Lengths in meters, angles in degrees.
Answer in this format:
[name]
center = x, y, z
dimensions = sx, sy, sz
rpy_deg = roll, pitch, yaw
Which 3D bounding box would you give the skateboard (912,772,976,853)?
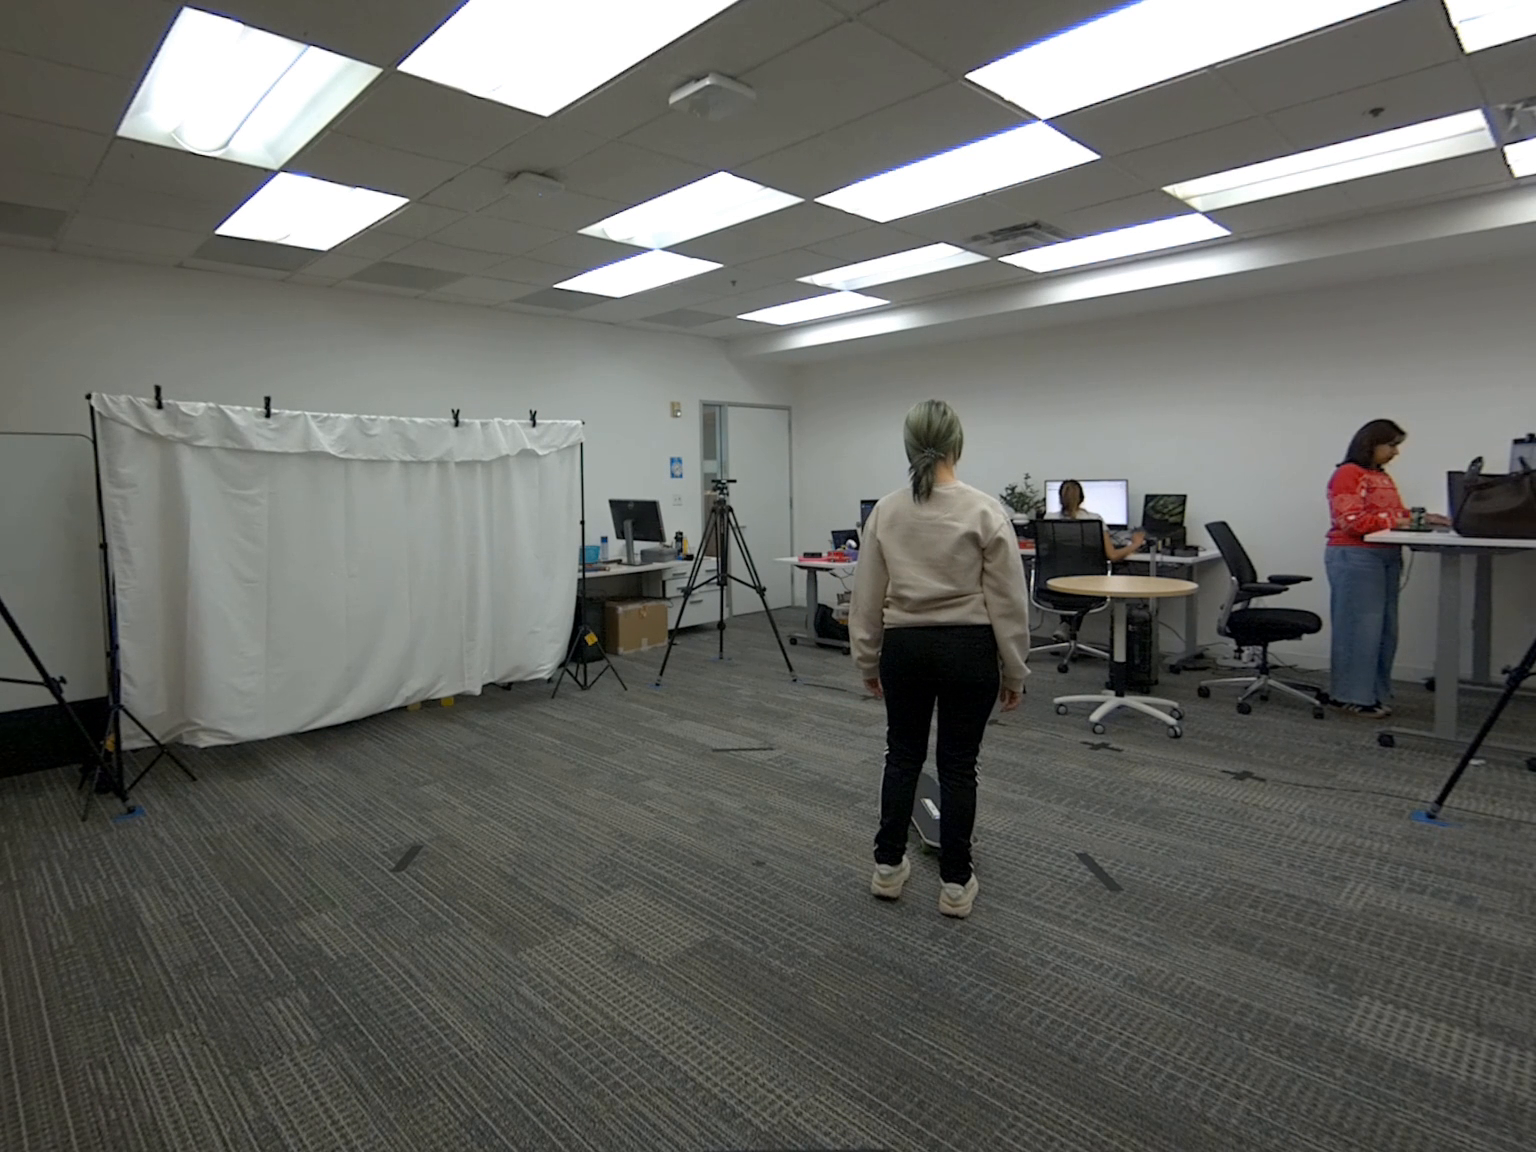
[skateboard]
center = 0.648, 0.949, 3.374
dimensions = 0.193, 0.110, 0.791
rpy_deg = -1, 7, -3
